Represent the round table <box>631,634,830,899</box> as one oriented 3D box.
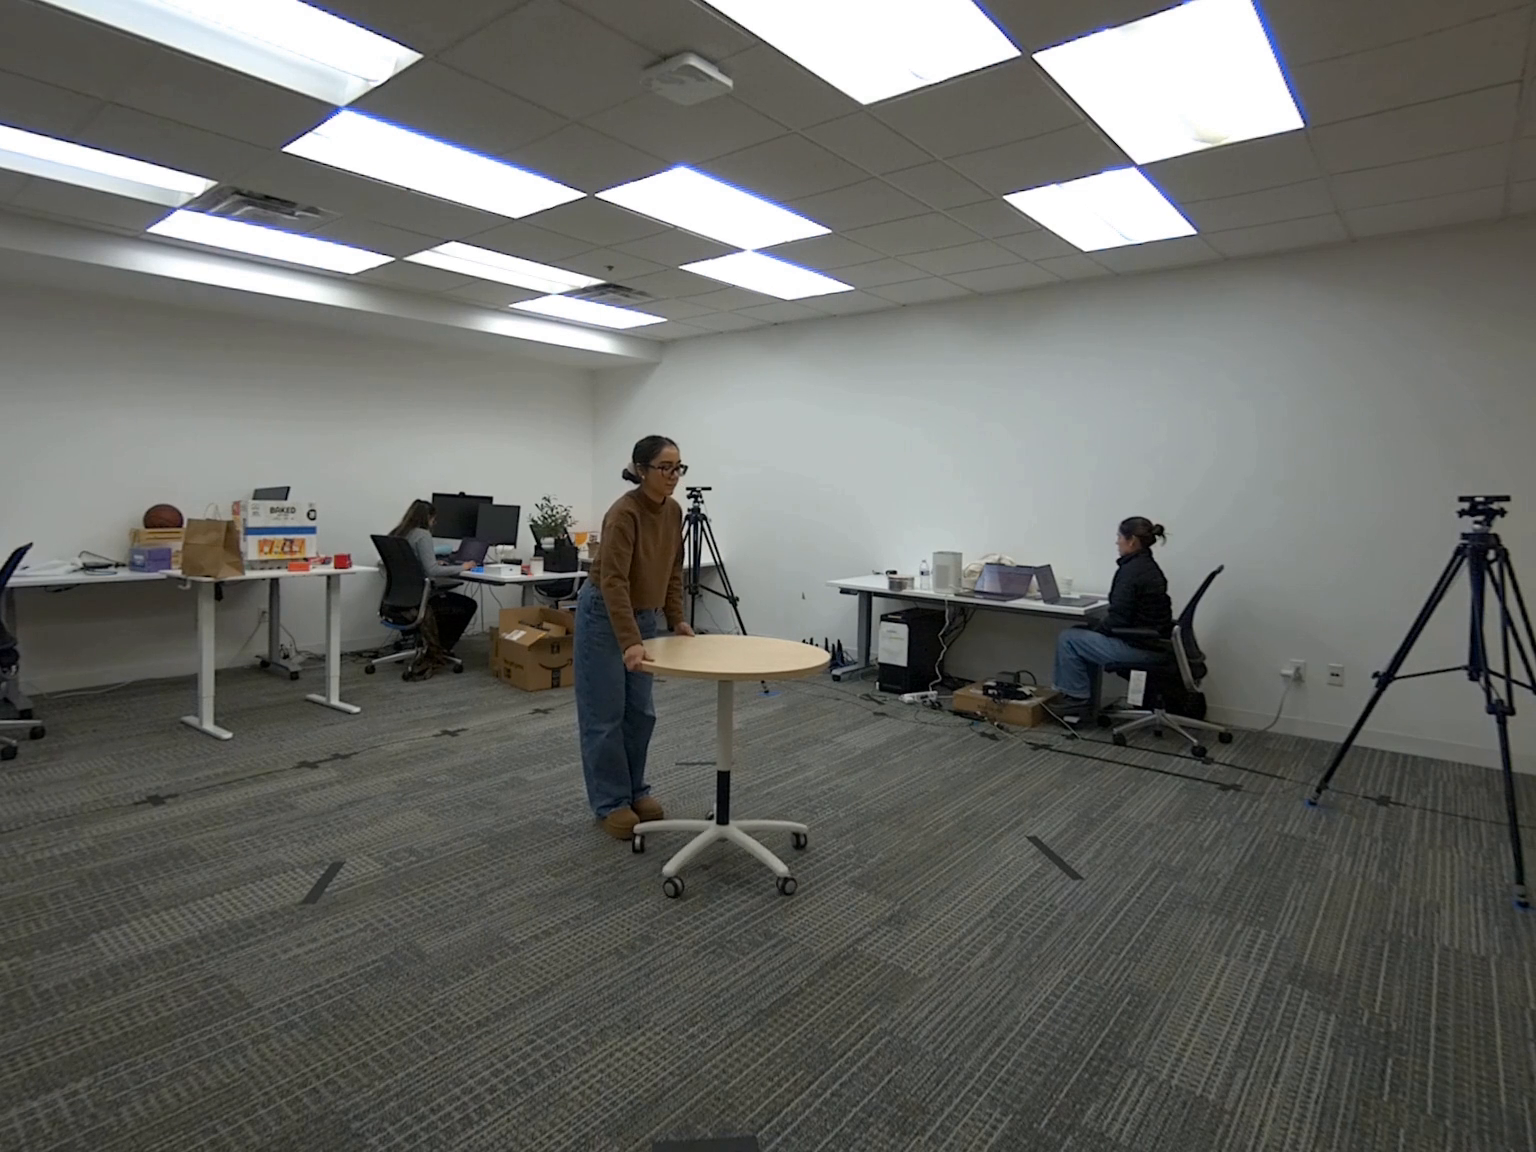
[{"bbox_3d":[-0.172,0.671,3.156,0.763,0.792,0.767,1,4,-2],"label":"round table"}]
